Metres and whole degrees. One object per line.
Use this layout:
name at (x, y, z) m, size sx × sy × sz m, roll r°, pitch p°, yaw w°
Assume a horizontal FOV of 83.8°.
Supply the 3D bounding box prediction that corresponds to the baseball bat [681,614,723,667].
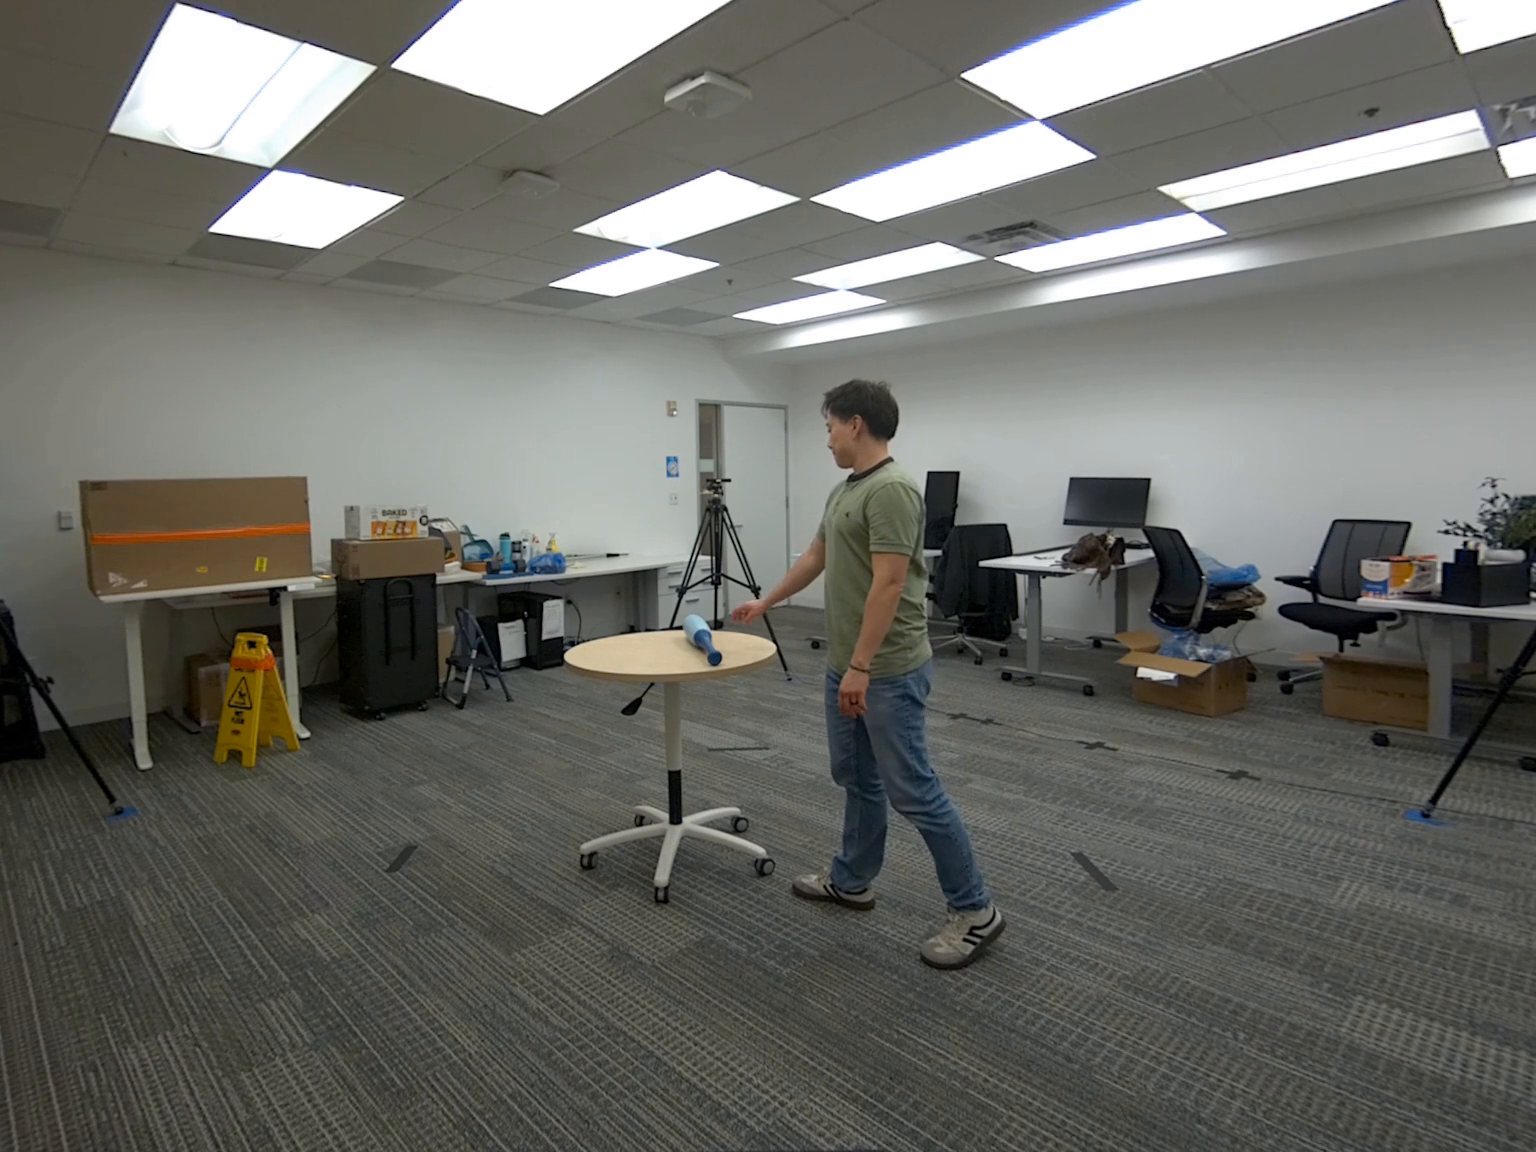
baseball bat at (-0.228, 0.231, 3.067) m, size 0.088 × 0.088 × 0.552 m, roll -2°, pitch 9°, yaw -12°
